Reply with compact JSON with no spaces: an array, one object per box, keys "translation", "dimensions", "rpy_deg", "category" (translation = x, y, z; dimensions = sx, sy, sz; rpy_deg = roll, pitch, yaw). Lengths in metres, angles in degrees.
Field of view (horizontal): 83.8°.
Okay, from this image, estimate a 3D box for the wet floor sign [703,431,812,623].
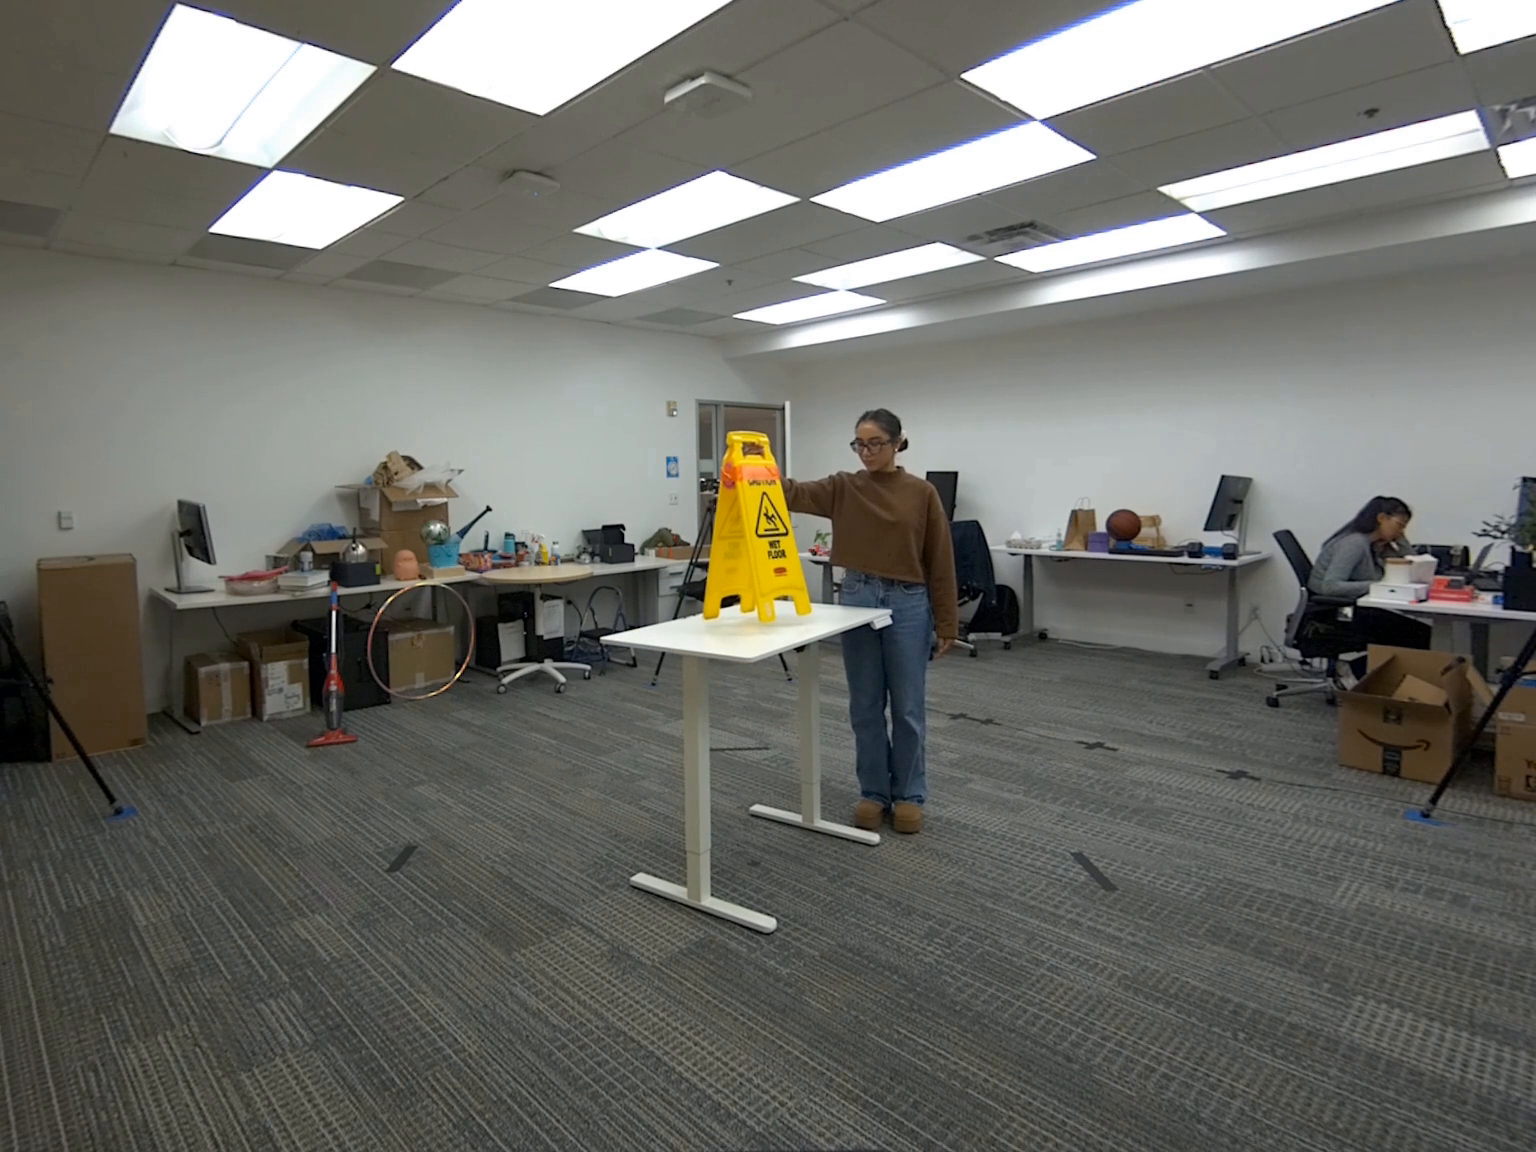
[{"translation":[-0.054,-0.179,2.999],"dimensions":[0.298,0.646,0.274],"rpy_deg":[-3,0,40],"category":"wet floor sign"}]
